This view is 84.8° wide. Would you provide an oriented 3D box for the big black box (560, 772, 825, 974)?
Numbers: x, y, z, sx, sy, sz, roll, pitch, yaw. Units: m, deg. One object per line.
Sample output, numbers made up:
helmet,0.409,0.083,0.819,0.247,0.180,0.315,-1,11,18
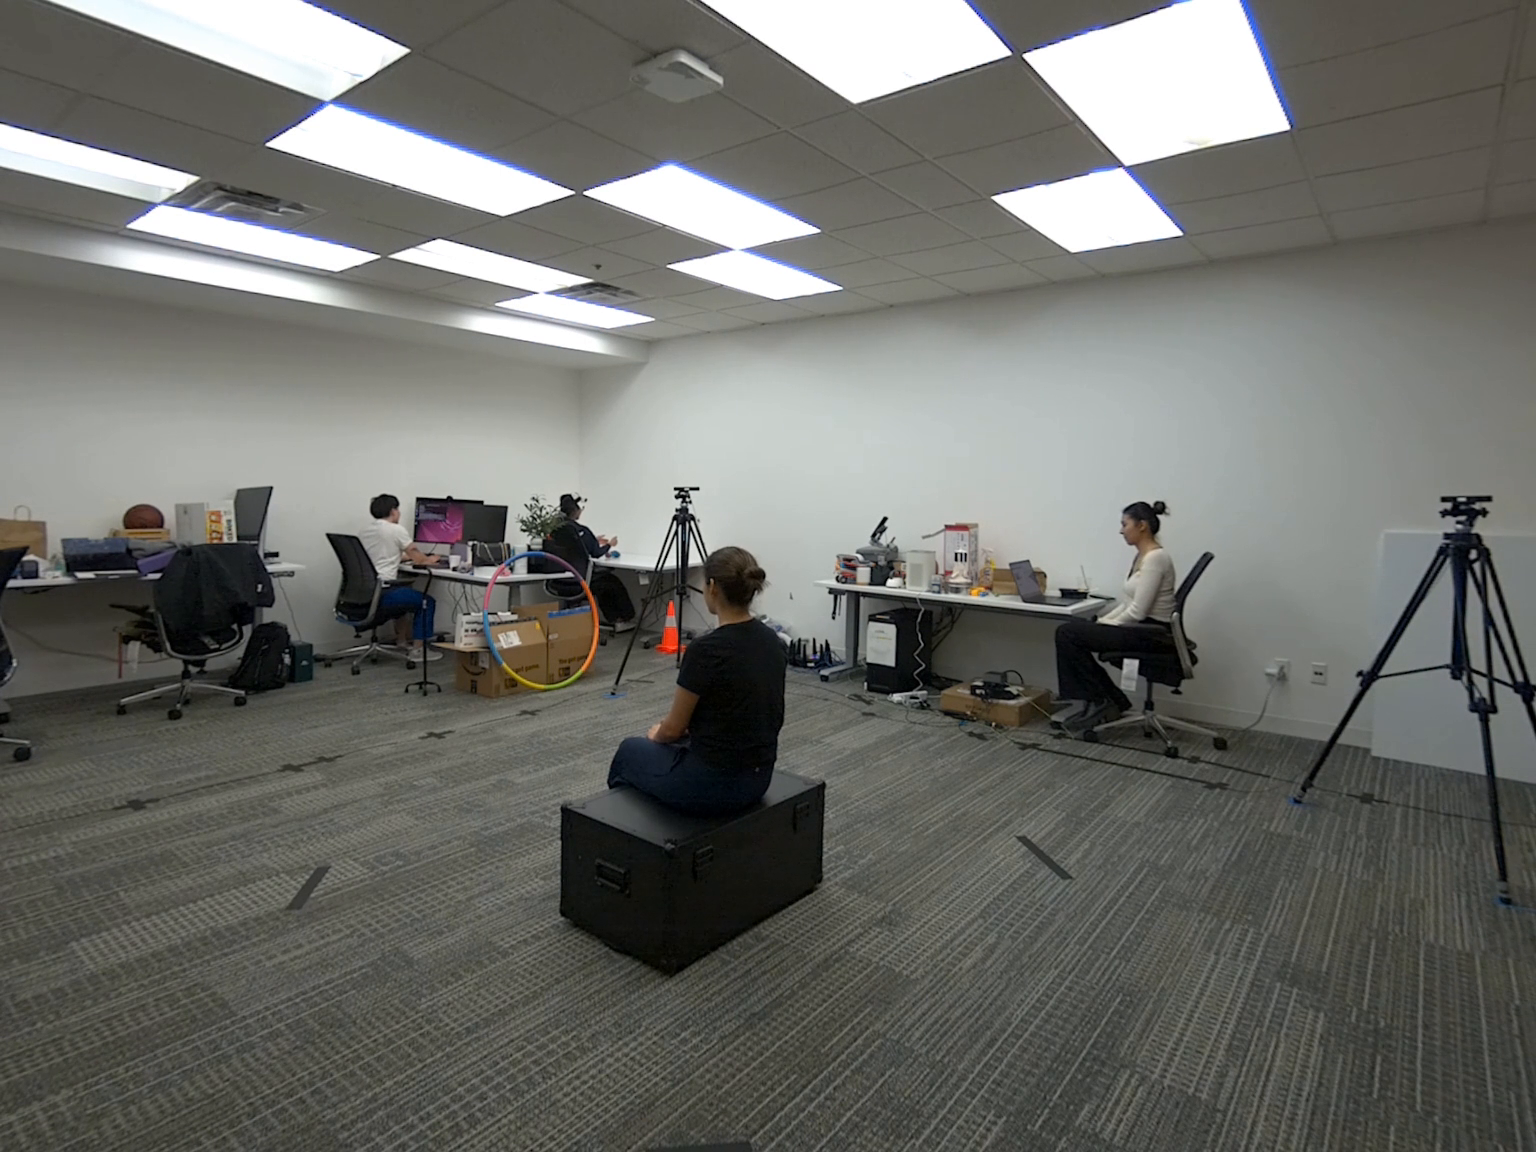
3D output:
big black box,-0.198,0.902,2.863,0.539,0.394,0.837,5,7,39
